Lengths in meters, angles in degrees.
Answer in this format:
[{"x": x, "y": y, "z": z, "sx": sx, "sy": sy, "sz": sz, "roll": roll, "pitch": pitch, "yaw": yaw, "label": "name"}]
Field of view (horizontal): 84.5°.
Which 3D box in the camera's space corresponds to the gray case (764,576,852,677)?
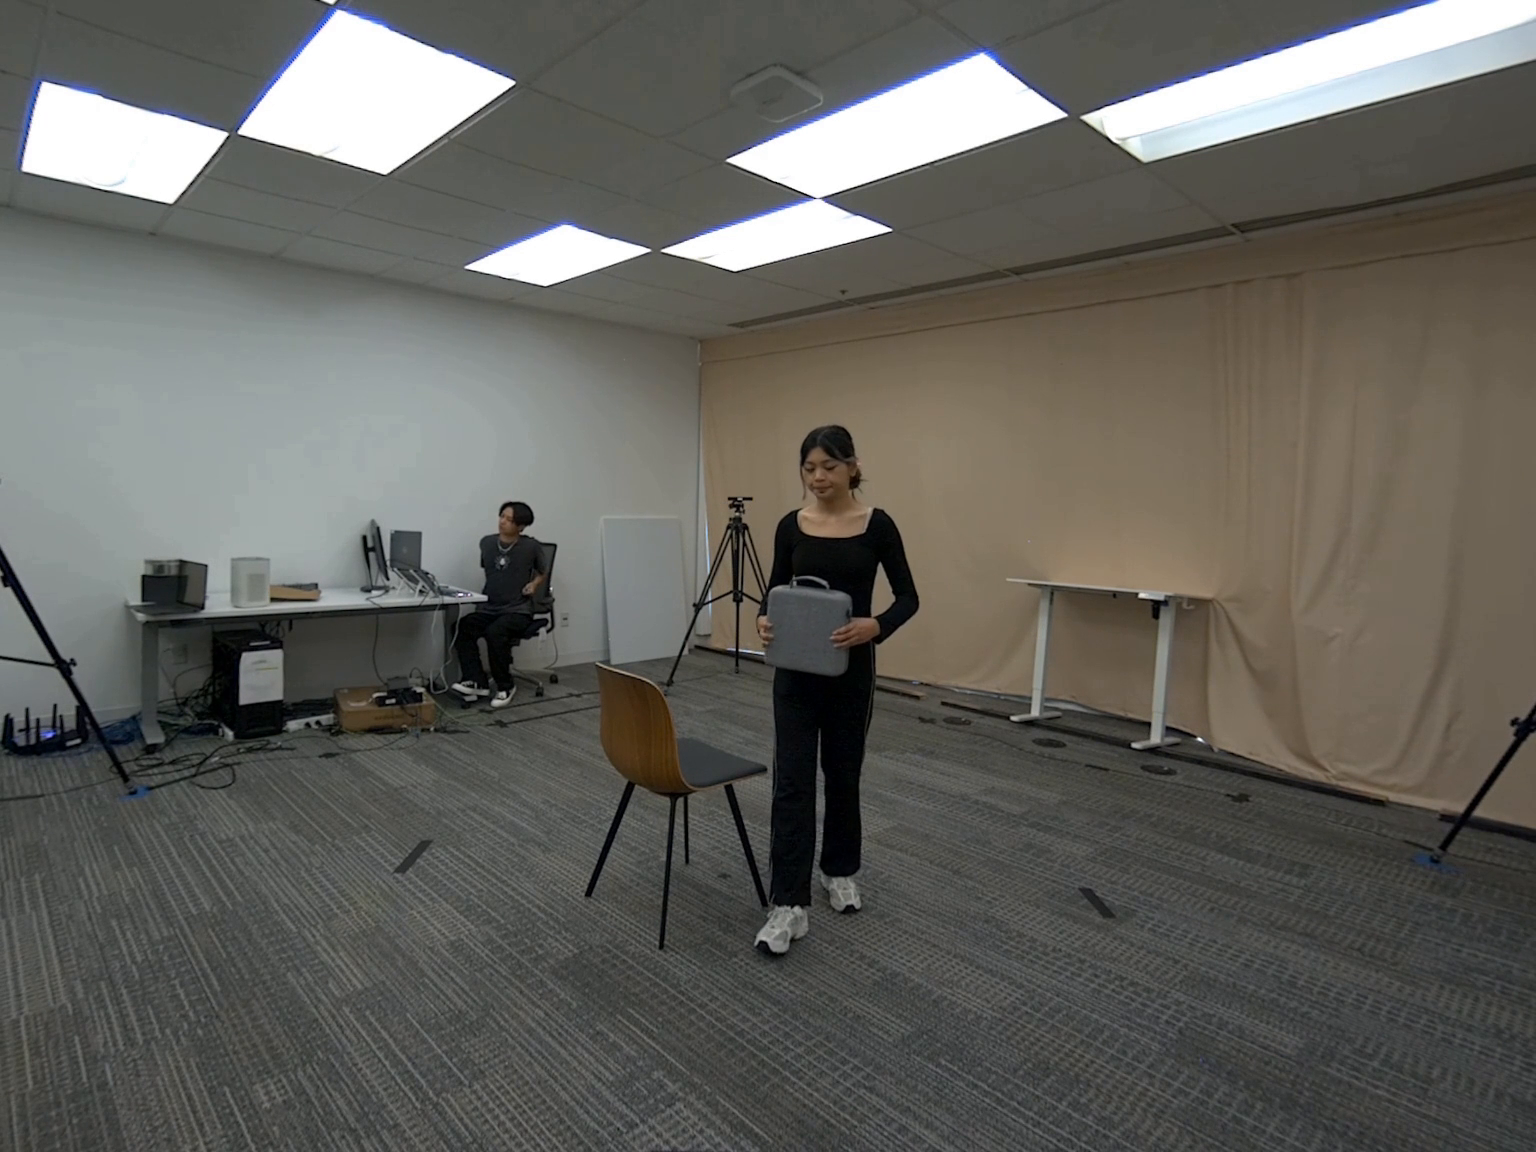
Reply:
[{"x": 0.126, "y": 0.163, "z": 2.580, "sx": 0.262, "sy": 0.259, "sz": 0.103, "roll": 5, "pitch": 8, "yaw": 24, "label": "gray case"}]
